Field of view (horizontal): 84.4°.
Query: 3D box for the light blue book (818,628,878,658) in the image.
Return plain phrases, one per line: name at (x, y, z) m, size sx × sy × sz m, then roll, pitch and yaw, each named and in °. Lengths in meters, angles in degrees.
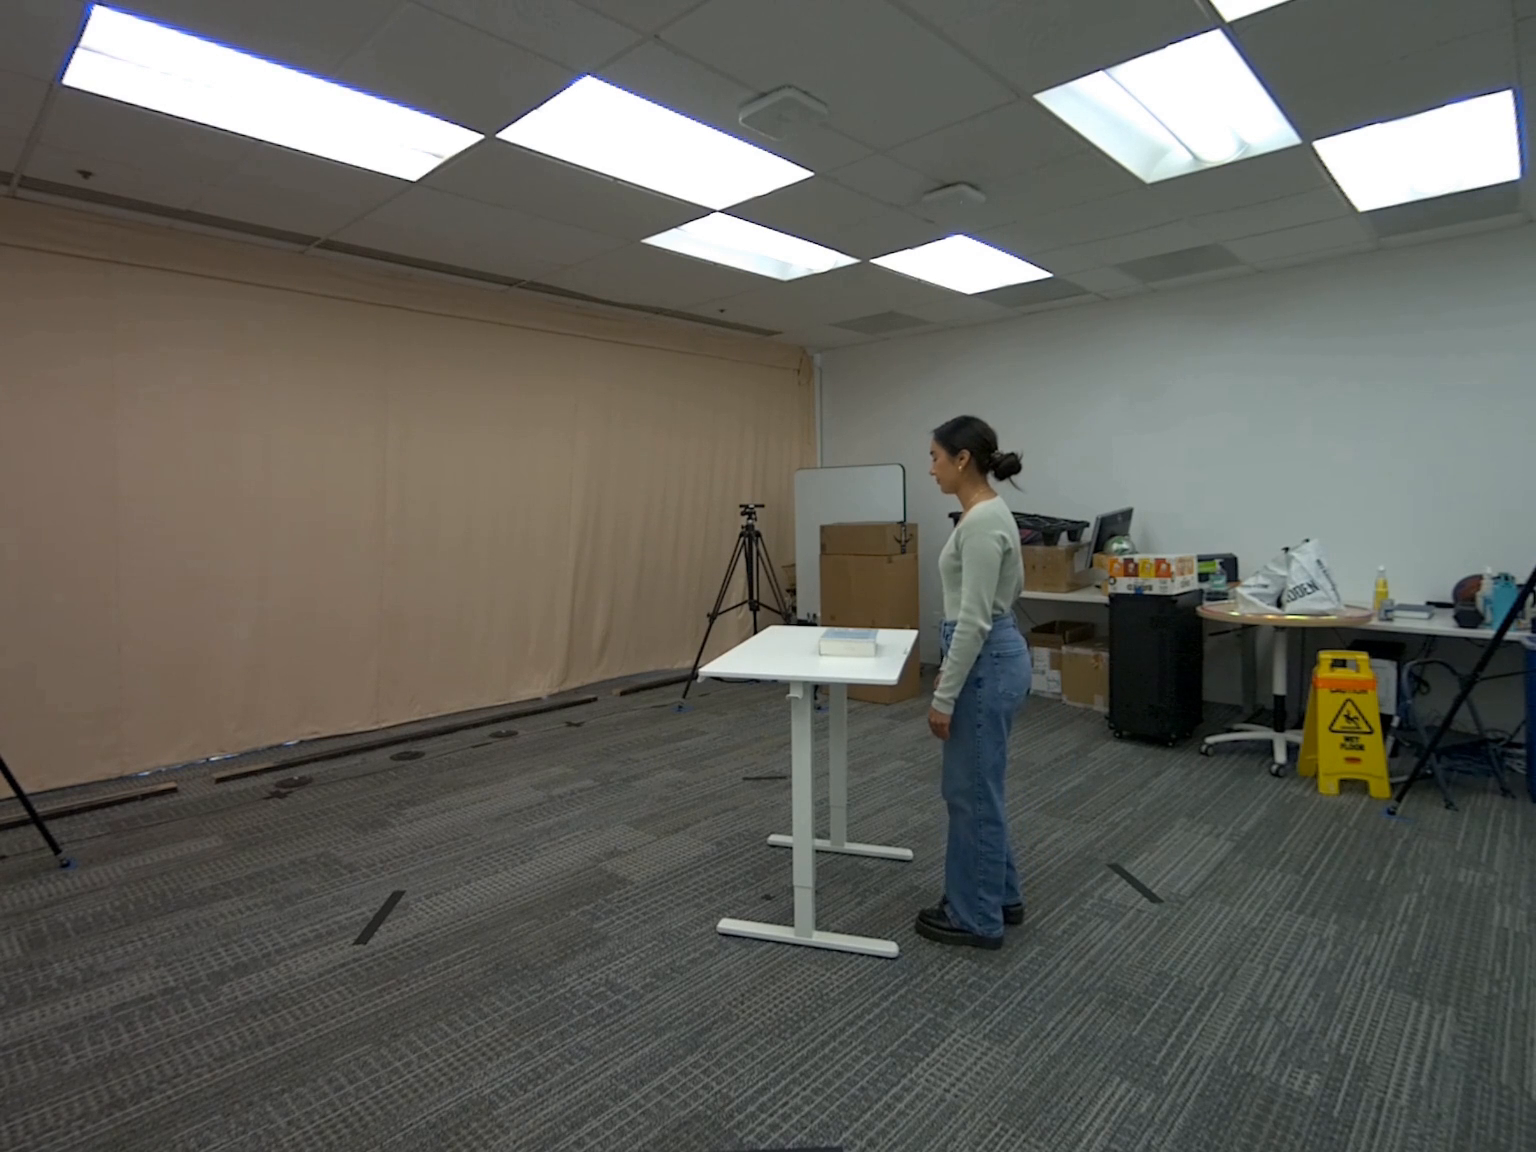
light blue book at (0.294, 0.231, 2.922) m, size 0.194 × 0.059 × 0.258 m, roll 1°, pitch 5°, yaw 11°
